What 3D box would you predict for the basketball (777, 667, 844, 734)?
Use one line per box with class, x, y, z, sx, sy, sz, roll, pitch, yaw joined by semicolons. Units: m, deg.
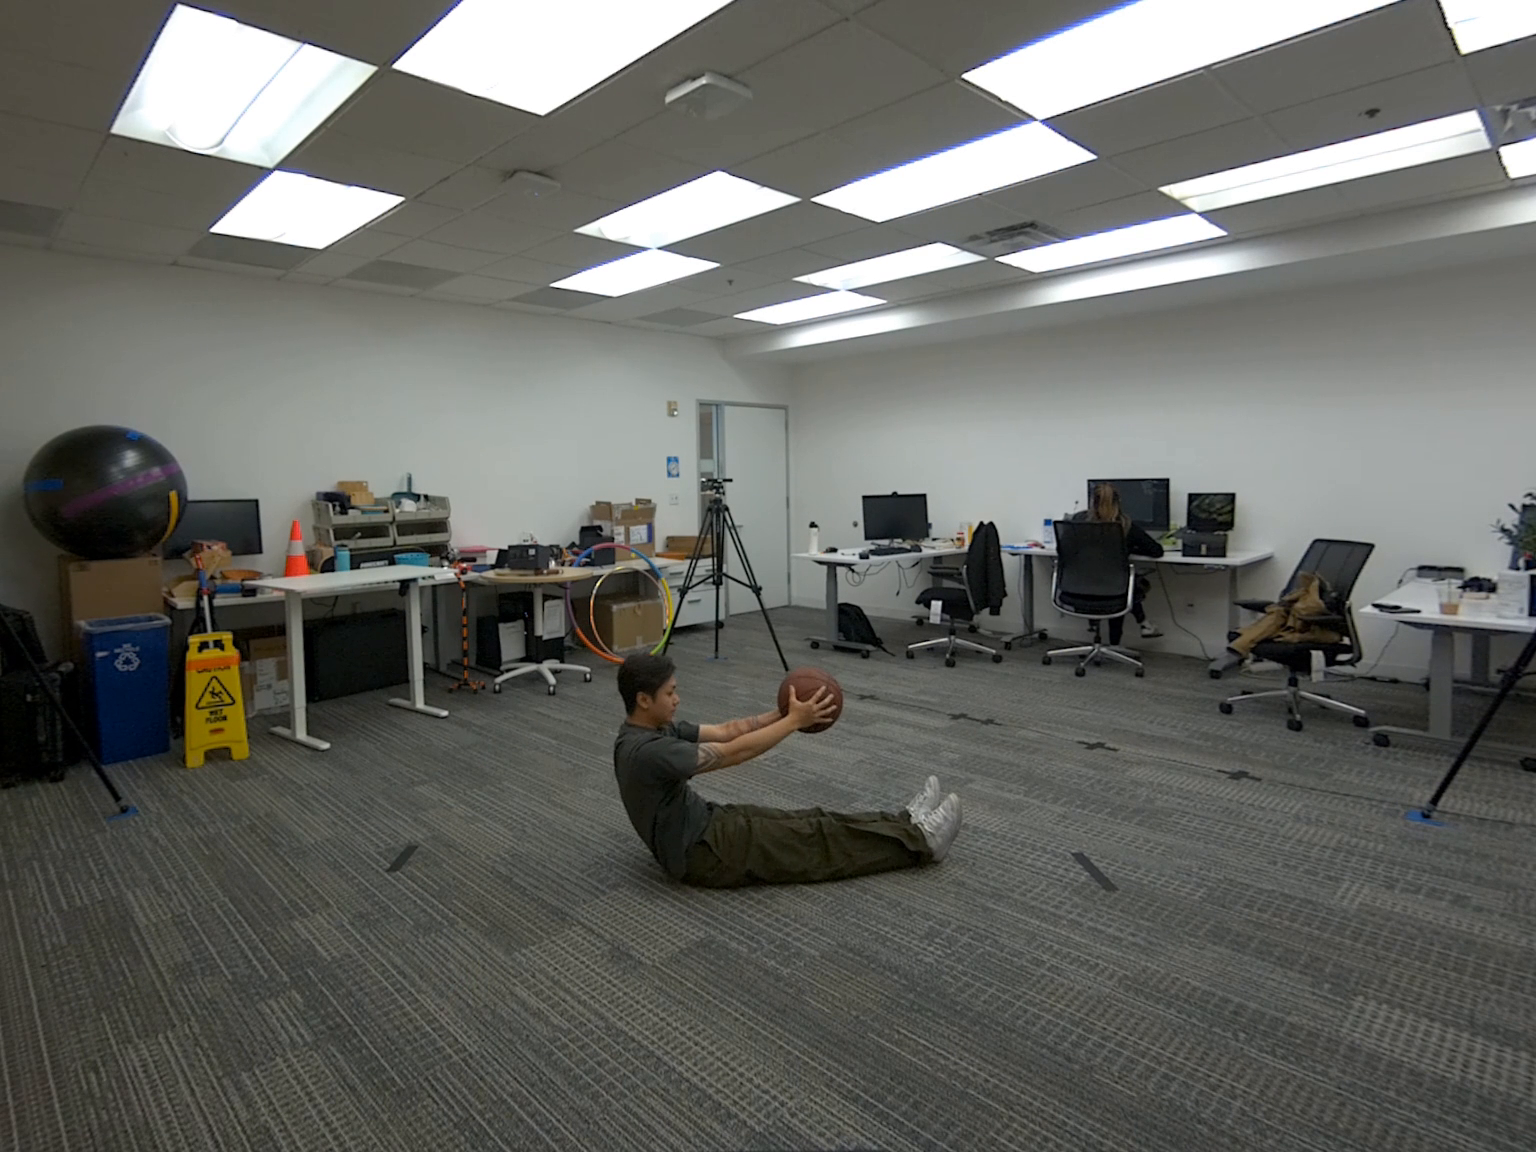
basketball;0.155;0.455;3.111;0.236;0.235;0.237;-1;5;-2
